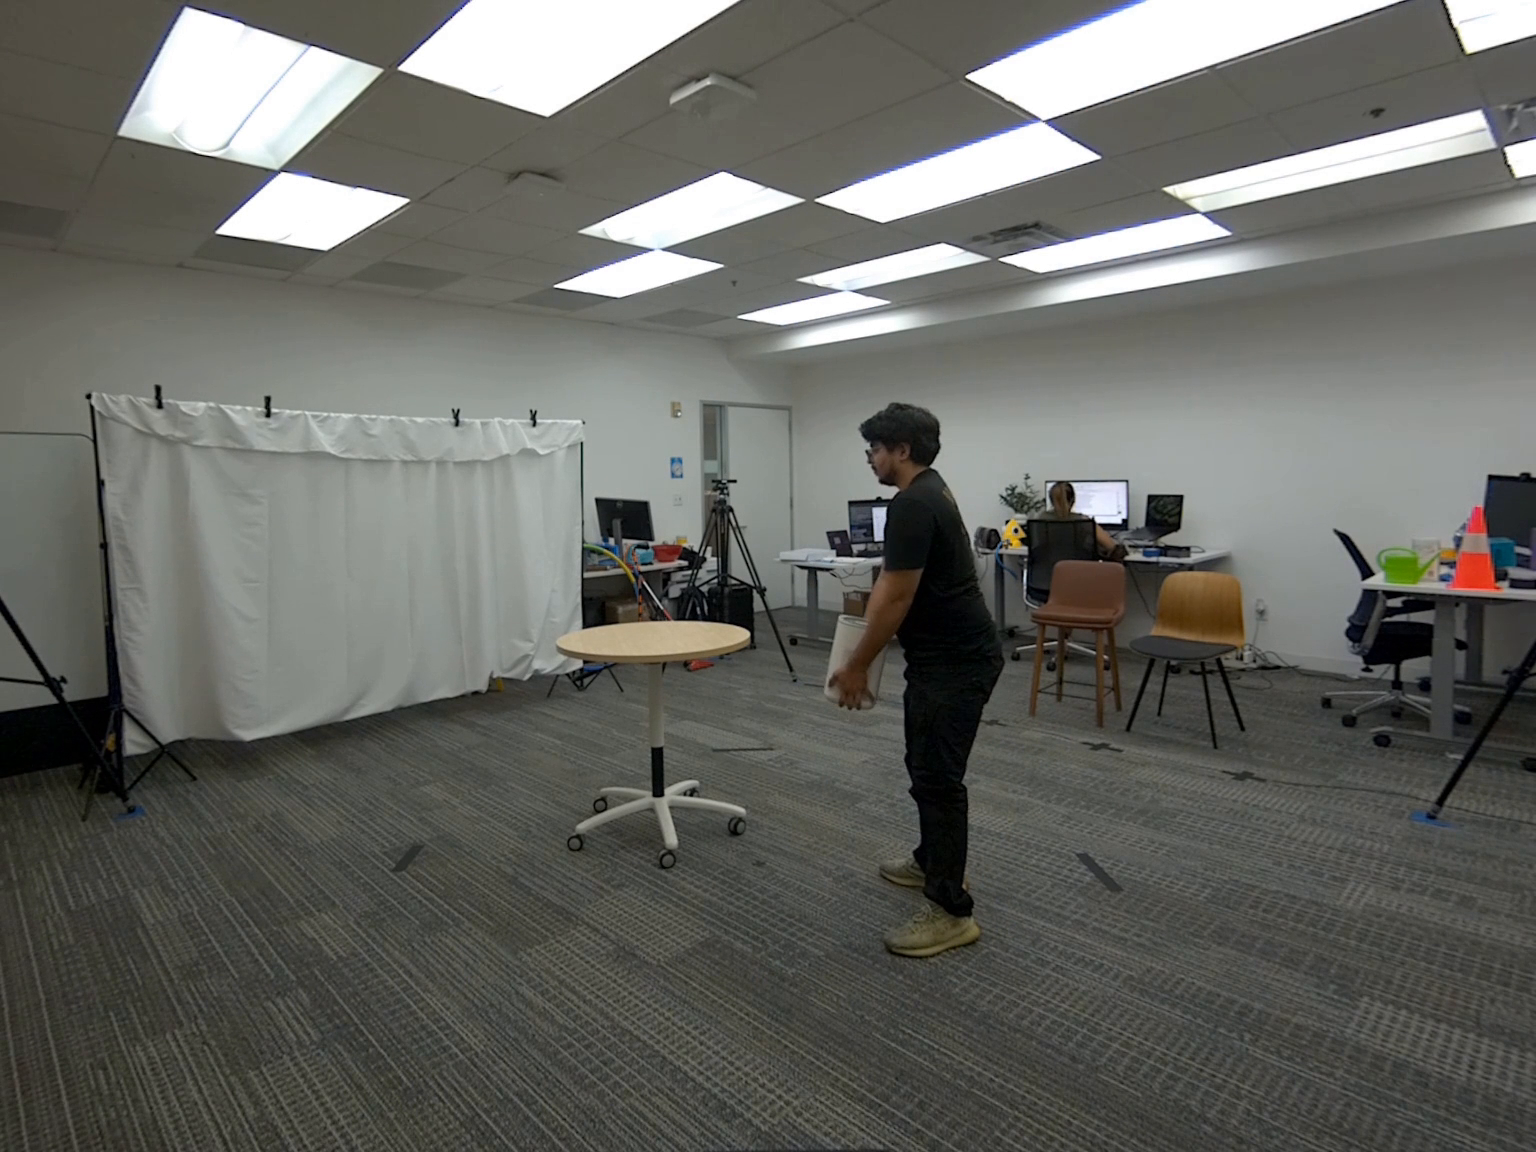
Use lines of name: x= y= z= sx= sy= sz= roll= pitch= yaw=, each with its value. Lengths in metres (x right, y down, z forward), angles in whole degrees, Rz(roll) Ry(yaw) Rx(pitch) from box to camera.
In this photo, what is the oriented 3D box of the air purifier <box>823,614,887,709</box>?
air purifier: x=0.302 y=0.284 z=2.752 sx=0.175 sy=0.261 sz=0.167 roll=13 pitch=6 yaw=6
